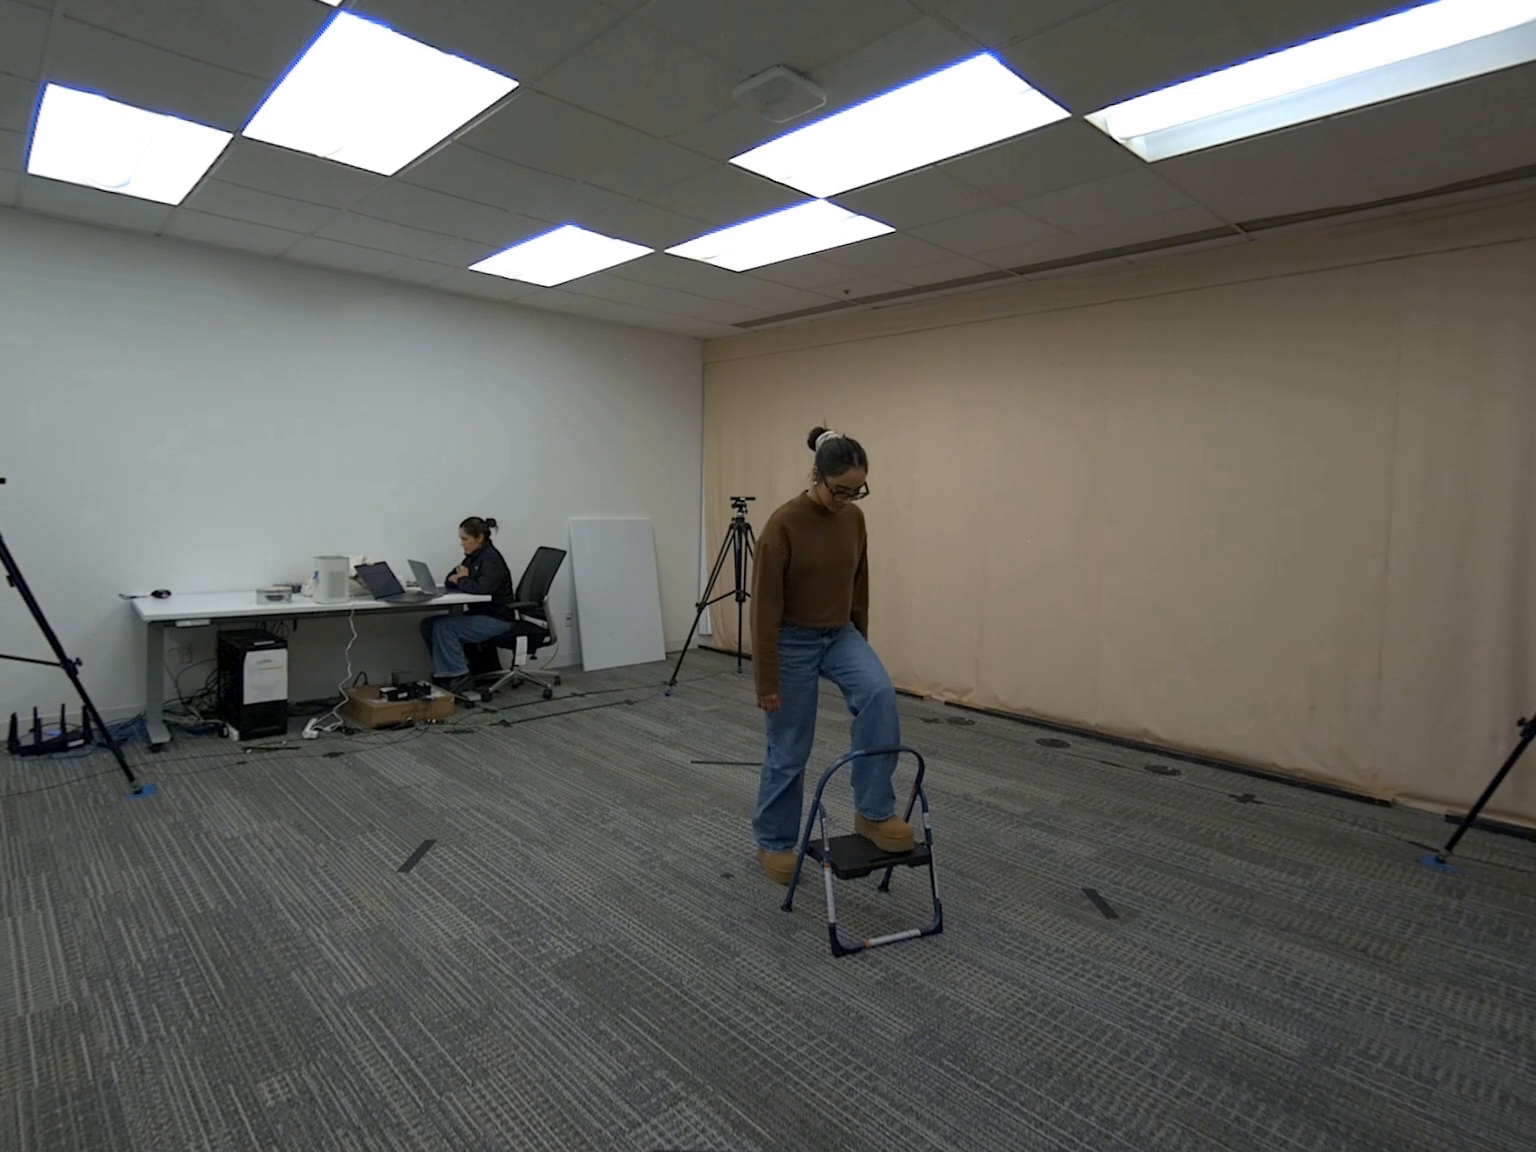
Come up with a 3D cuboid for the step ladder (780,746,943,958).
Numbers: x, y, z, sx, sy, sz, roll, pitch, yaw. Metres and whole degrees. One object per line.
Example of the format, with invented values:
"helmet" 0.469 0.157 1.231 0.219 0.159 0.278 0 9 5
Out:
"step ladder" 0.314 0.845 2.778 0.422 0.604 0.357 0 4 -26
